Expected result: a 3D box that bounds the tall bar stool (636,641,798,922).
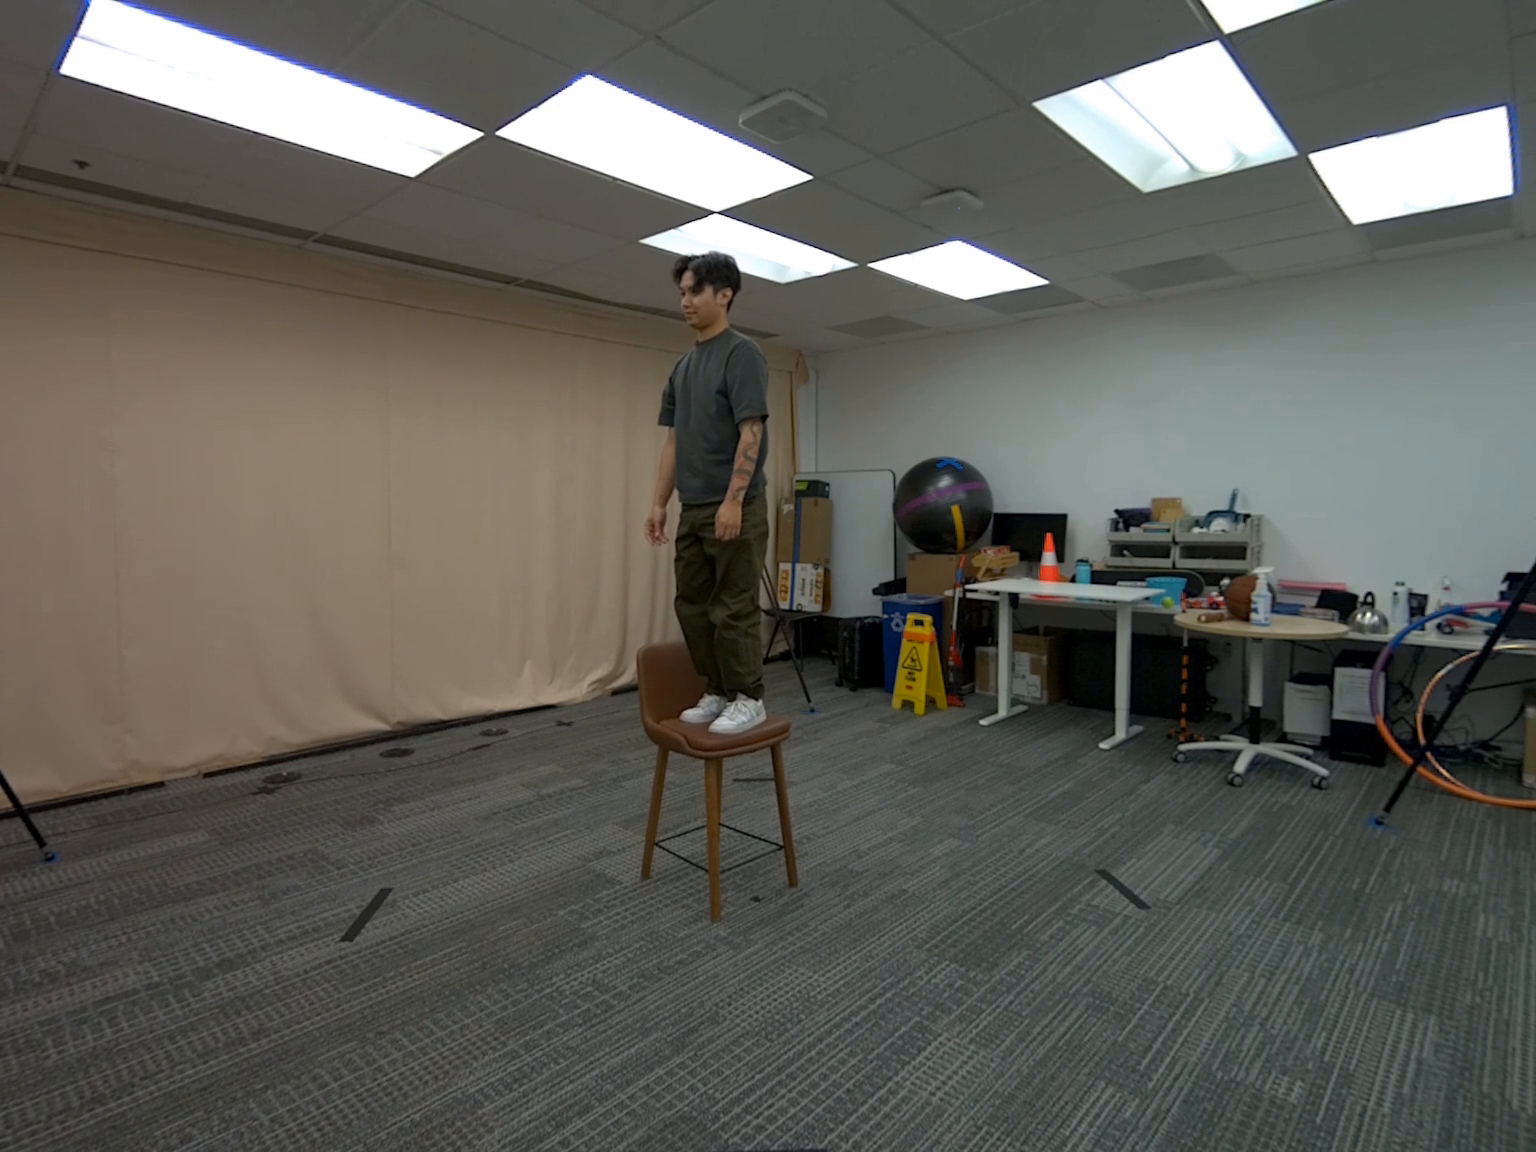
[{"bbox_3d":[-0.195,0.699,3.097,0.442,0.888,0.483,-3,3,-43],"label":"tall bar stool"}]
